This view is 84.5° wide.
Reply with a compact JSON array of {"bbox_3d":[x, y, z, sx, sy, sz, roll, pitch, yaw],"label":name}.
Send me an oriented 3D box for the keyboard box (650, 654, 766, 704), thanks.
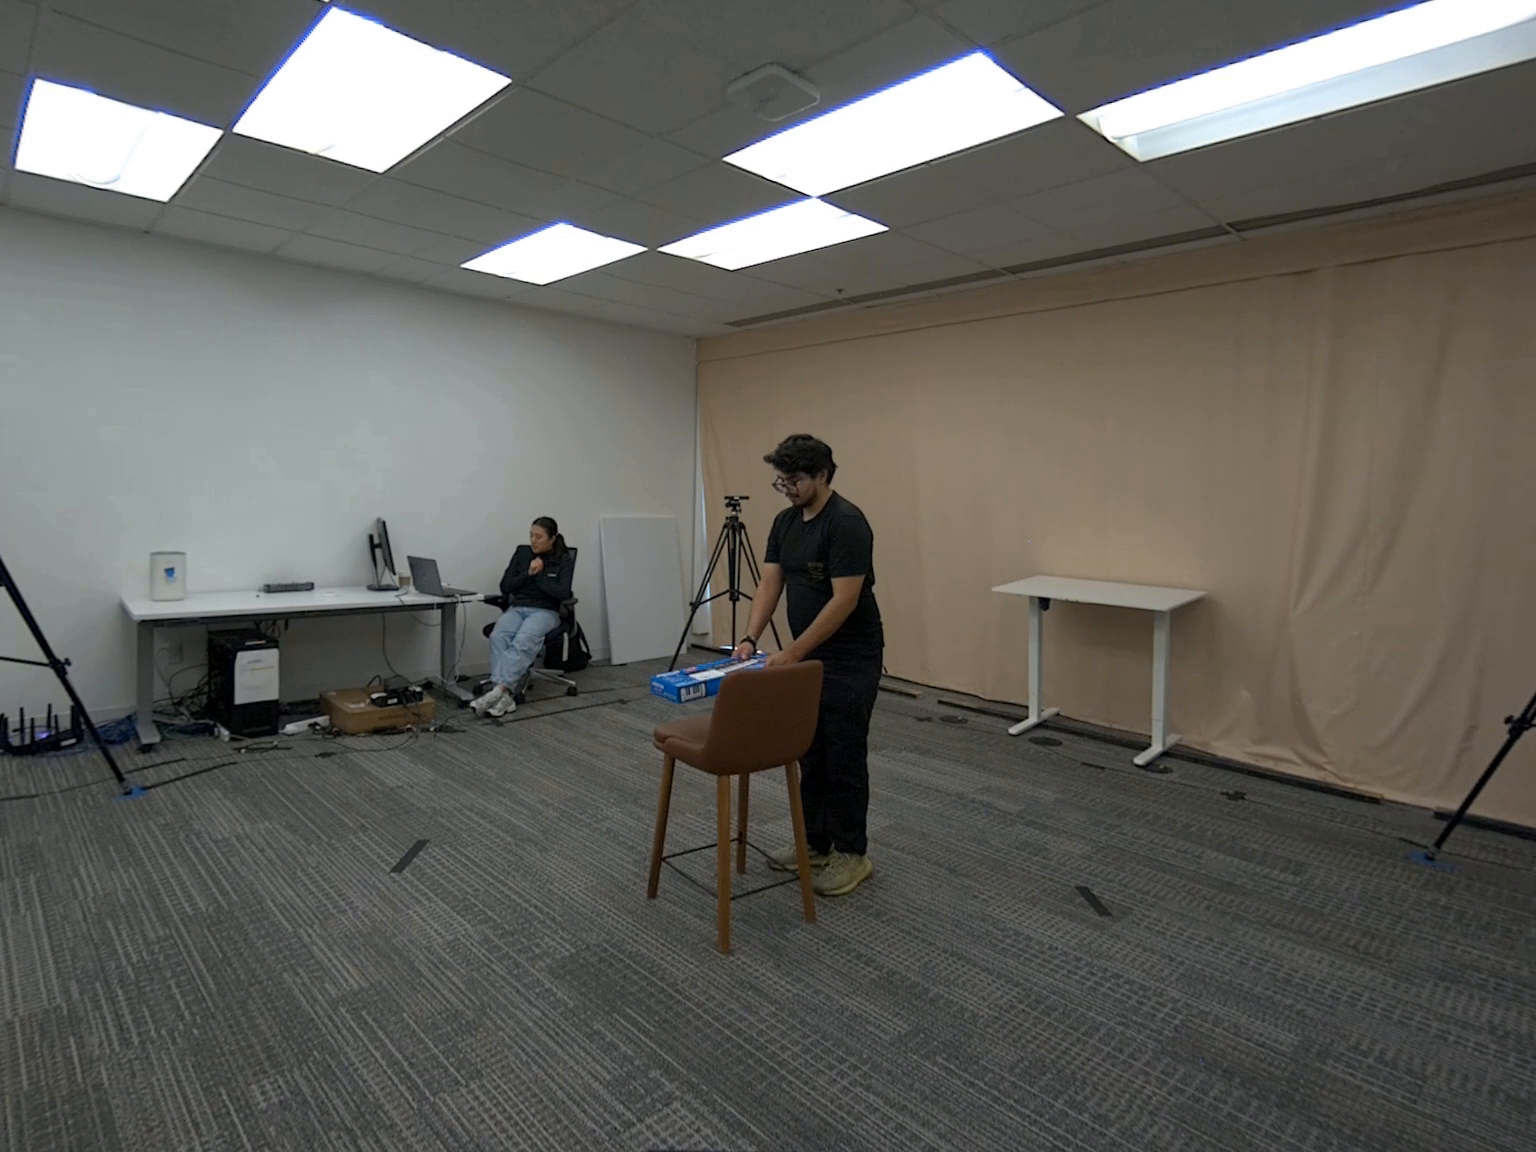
[{"bbox_3d":[-0.168,0.340,2.827,0.429,0.059,0.180,-9,10,-34],"label":"keyboard box"}]
